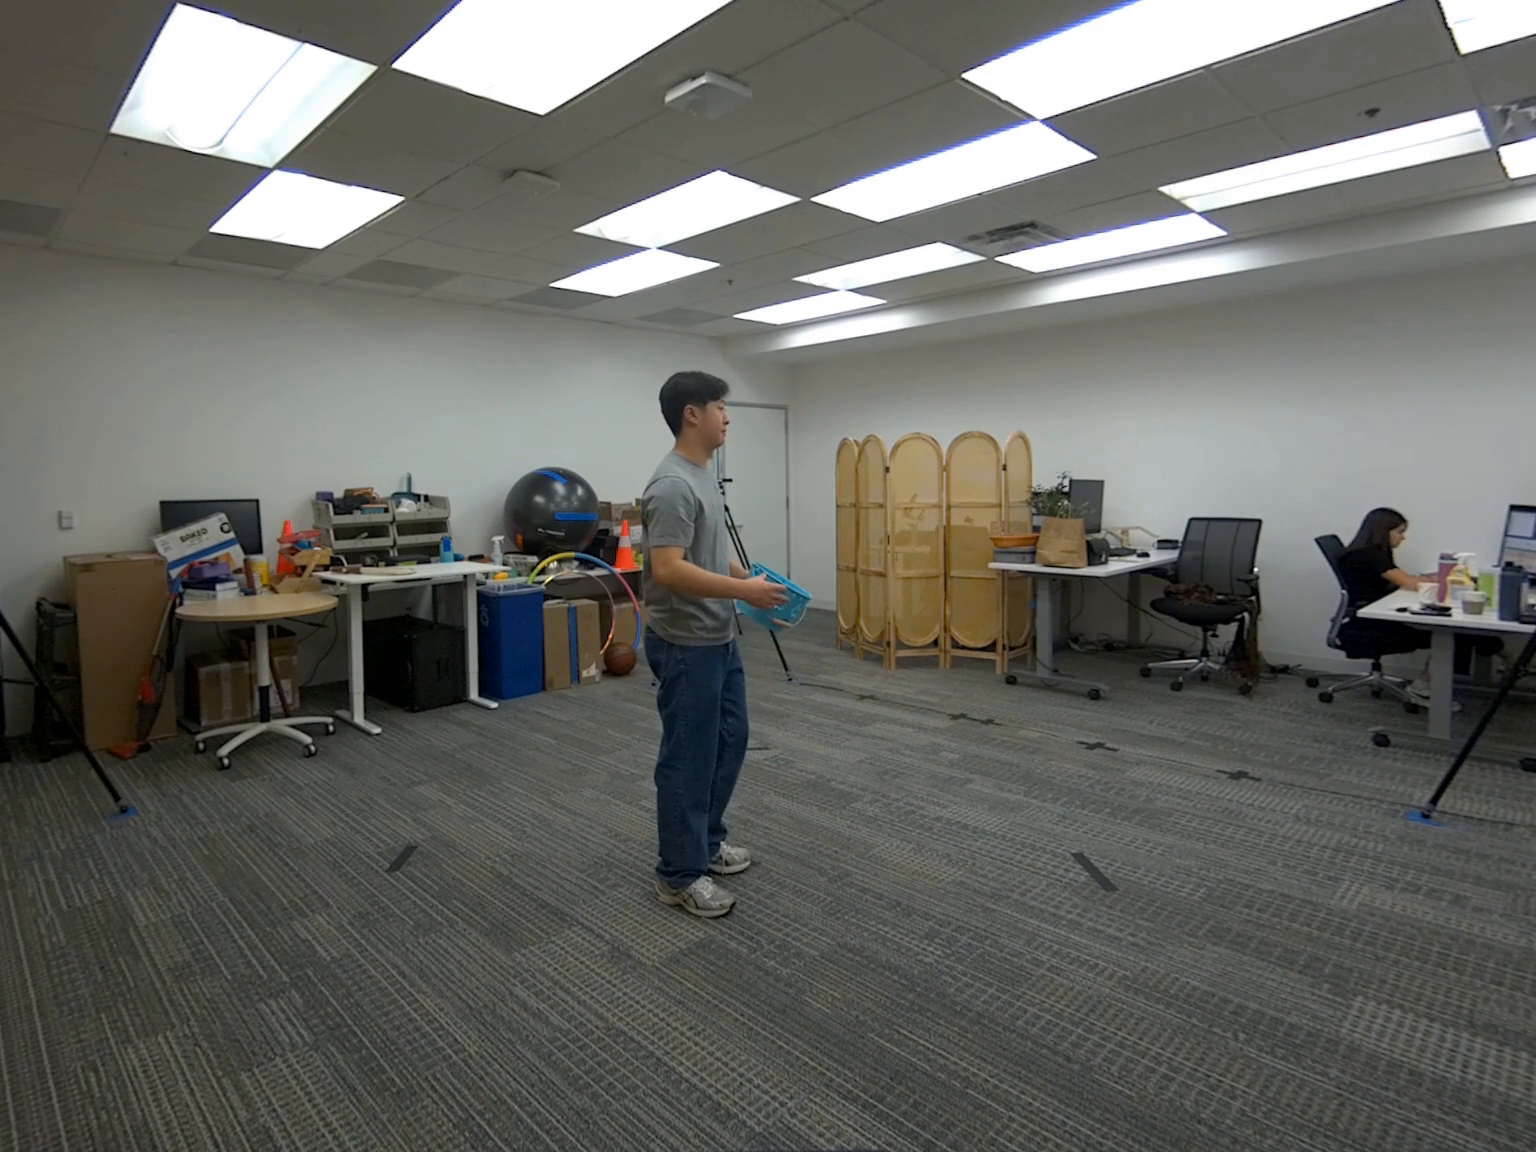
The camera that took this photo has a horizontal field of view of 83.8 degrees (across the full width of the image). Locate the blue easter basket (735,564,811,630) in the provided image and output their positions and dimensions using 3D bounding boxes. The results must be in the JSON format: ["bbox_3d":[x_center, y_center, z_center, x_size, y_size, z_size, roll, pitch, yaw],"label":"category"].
[{"bbox_3d":[0.016,0.074,2.800,0.242,0.155,0.245,29,5,-4],"label":"blue easter basket"}]
